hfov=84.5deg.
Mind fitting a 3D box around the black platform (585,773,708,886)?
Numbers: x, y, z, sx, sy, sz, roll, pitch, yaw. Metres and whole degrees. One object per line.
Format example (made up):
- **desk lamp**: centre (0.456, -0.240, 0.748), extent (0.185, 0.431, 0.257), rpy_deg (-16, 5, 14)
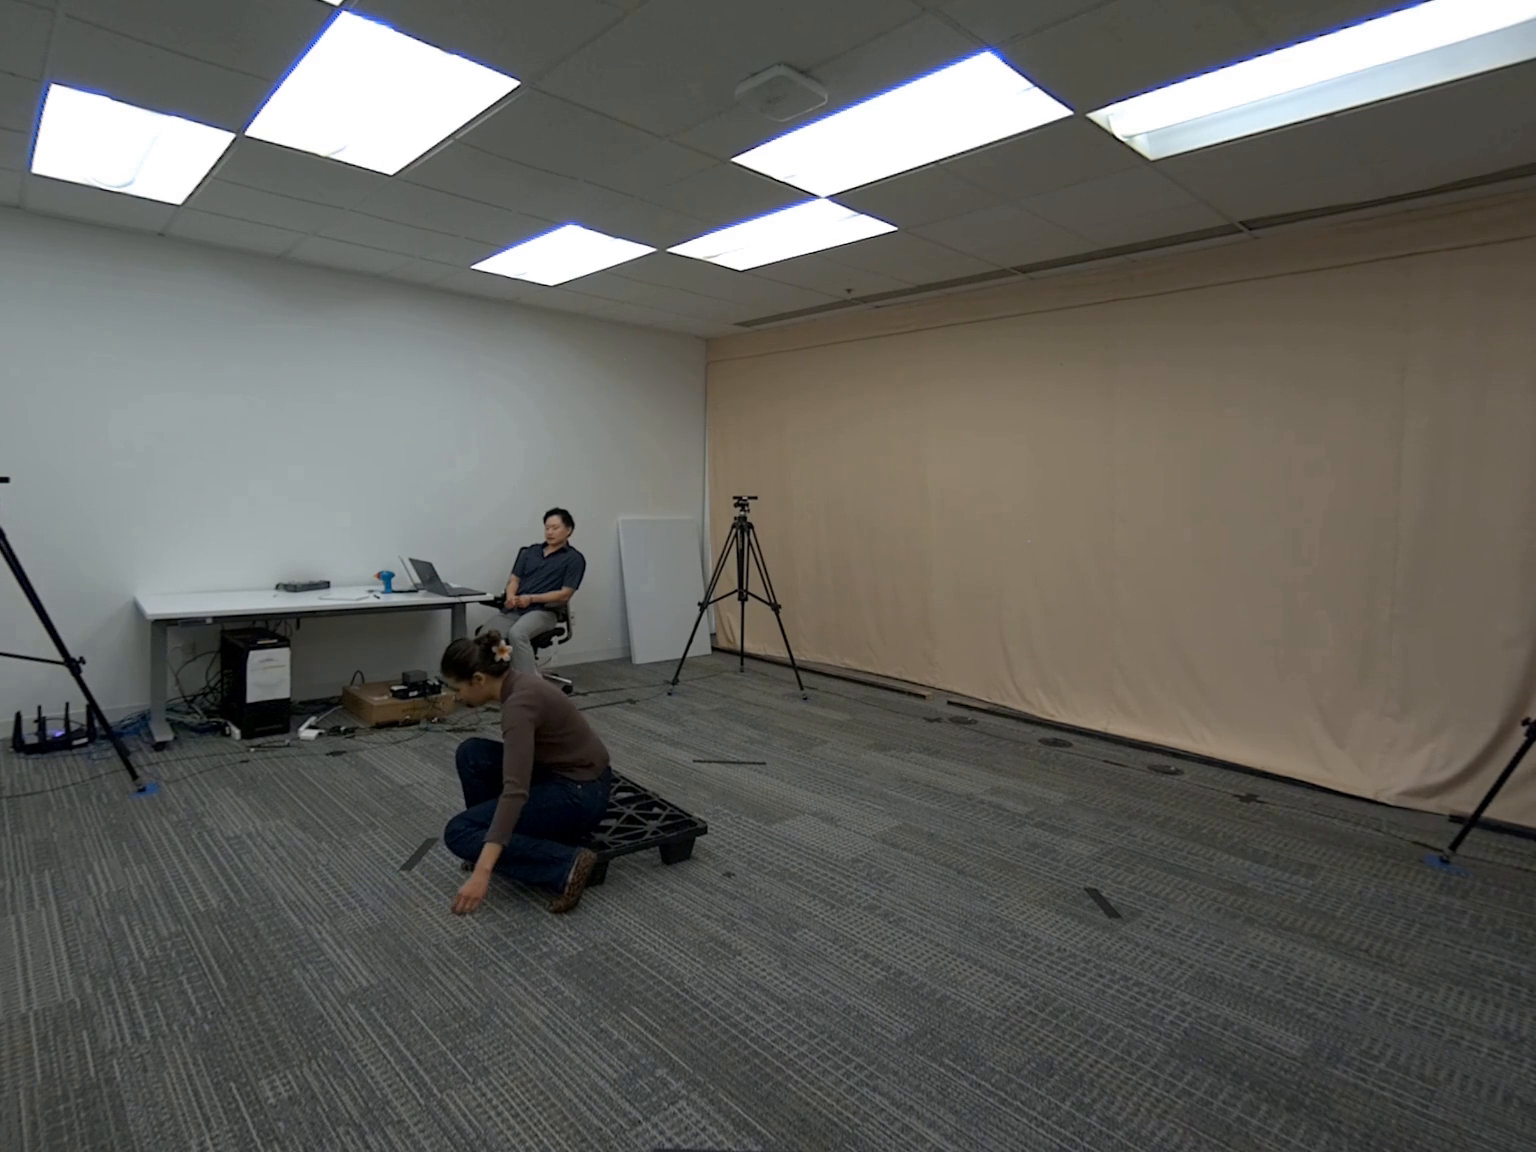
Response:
- **black platform**: centre (-0.710, 0.998, 3.389), extent (0.592, 0.143, 0.826), rpy_deg (-2, 7, -37)
